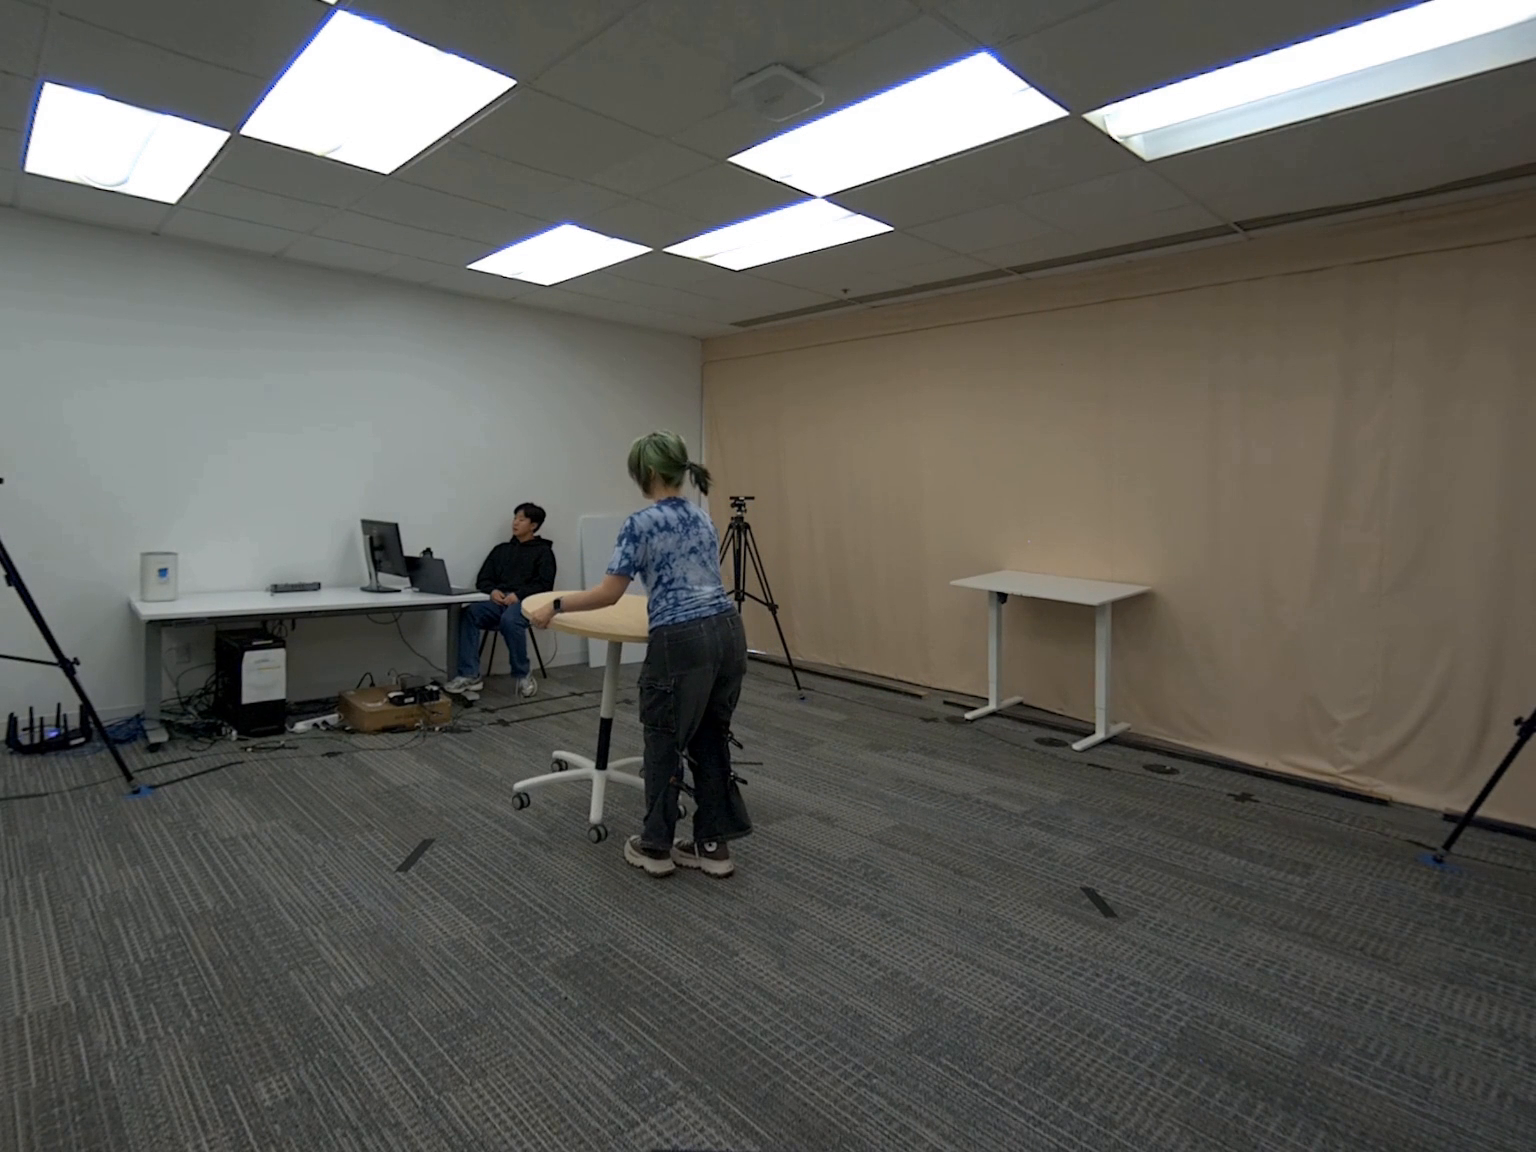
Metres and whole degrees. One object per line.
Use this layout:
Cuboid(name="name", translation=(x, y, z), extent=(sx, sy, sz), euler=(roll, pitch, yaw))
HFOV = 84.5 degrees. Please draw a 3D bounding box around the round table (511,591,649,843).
Cuboid(name="round table", translation=(-0.666, 0.545, 3.441), extent=(0.763, 0.790, 0.768), euler=(7, 7, -2))
